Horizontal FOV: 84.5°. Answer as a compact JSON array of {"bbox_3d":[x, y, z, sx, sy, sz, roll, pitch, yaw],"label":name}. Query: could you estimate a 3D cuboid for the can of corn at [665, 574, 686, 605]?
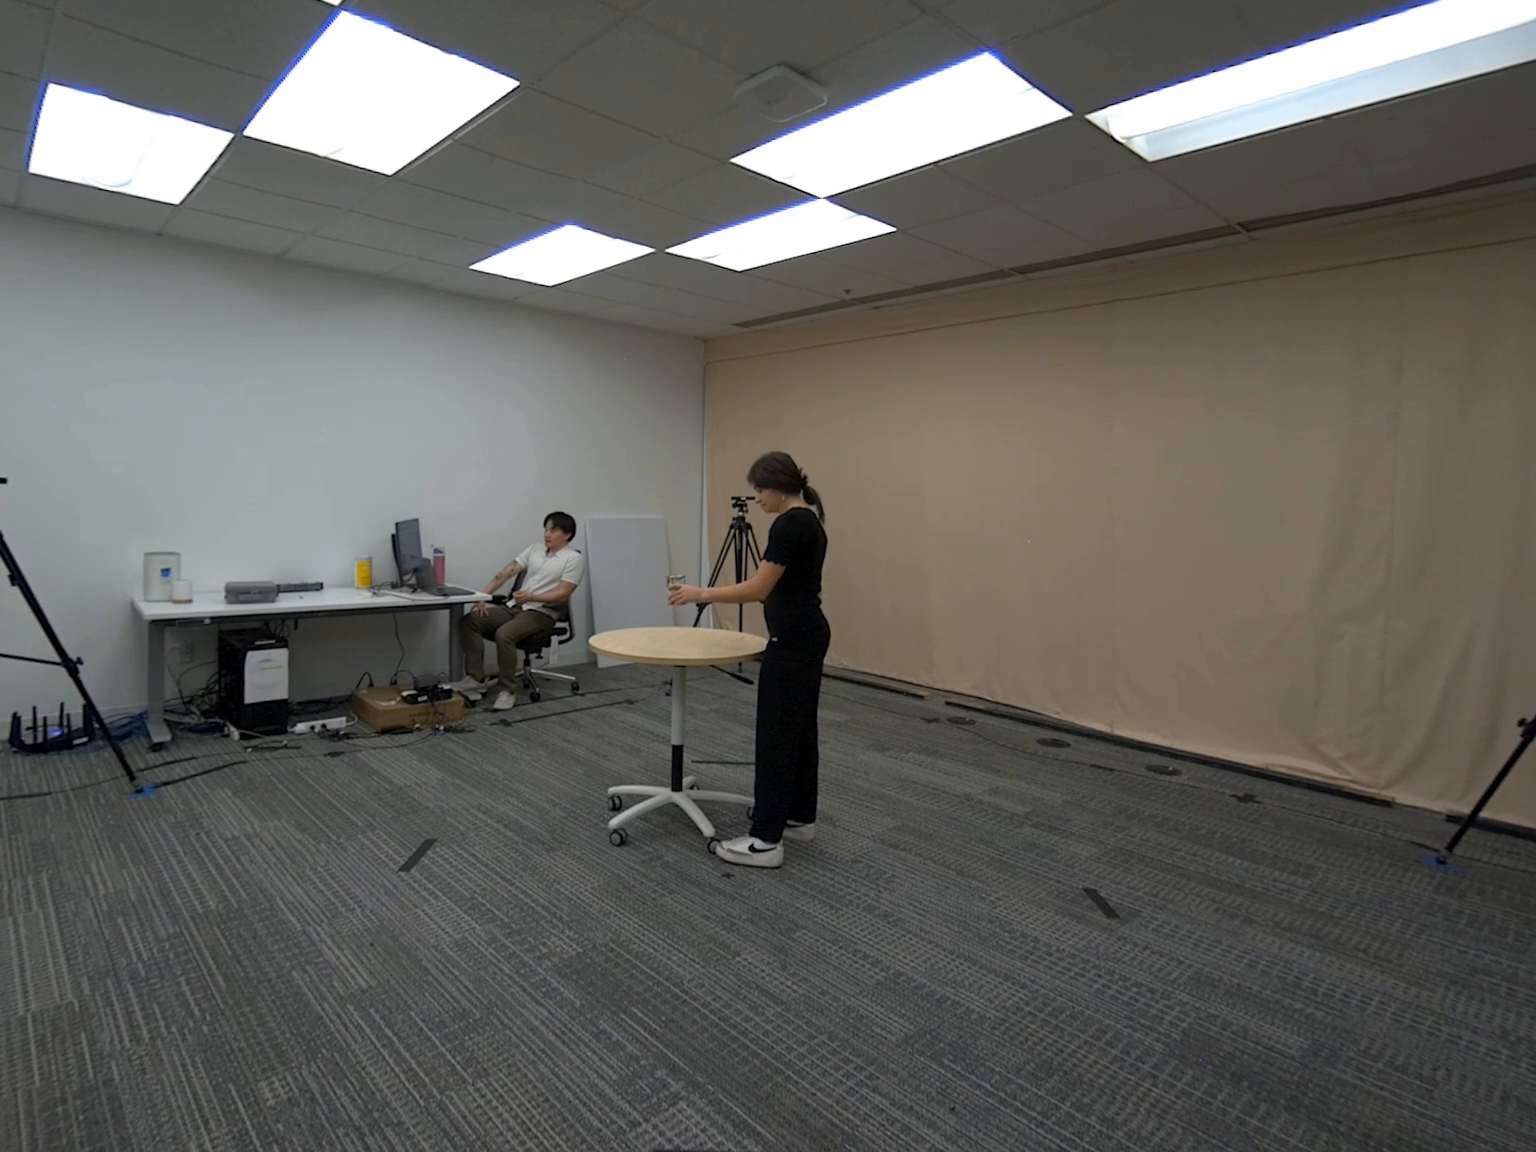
[{"bbox_3d":[-0.361,0.056,3.298,0.074,0.111,0.074,-2,3,-1],"label":"can of corn"}]
